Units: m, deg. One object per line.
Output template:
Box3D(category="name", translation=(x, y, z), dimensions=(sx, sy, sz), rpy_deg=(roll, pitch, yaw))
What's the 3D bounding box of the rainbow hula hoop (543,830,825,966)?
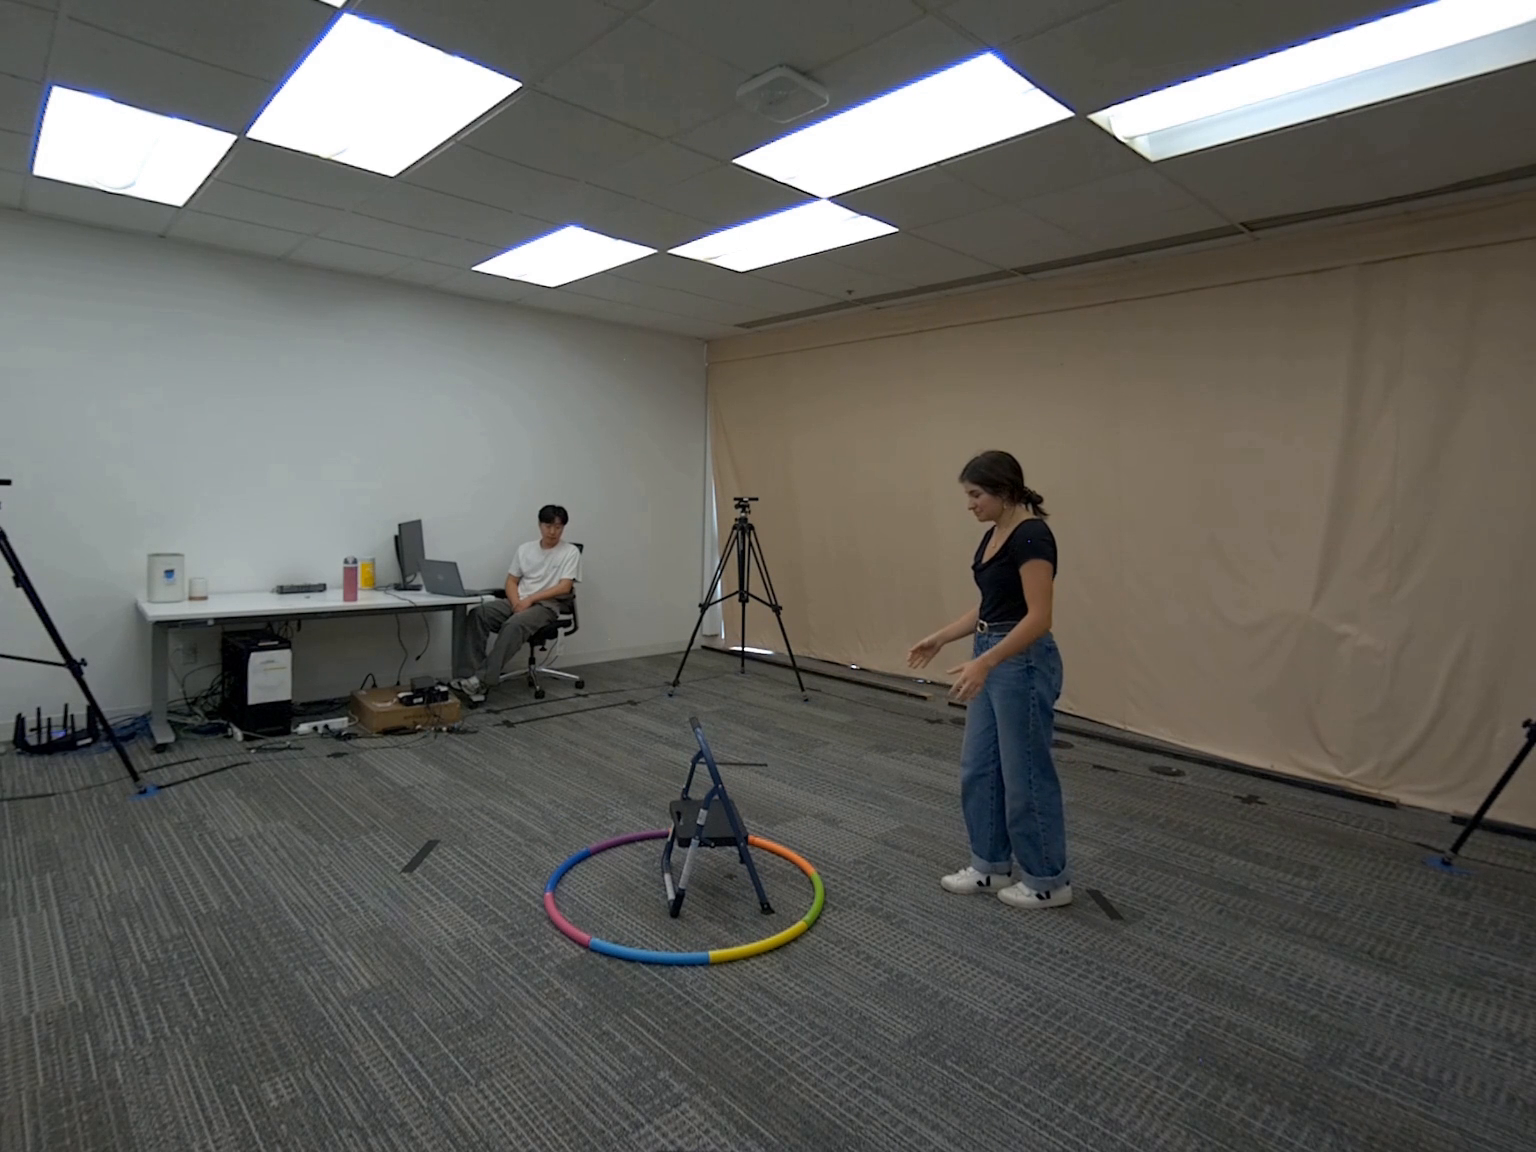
Box3D(category="rainbow hula hoop", translation=(-0.293, 1.090, 2.979), dimensions=(0.978, 0.035, 0.982), rpy_deg=(1, 5, -1))
